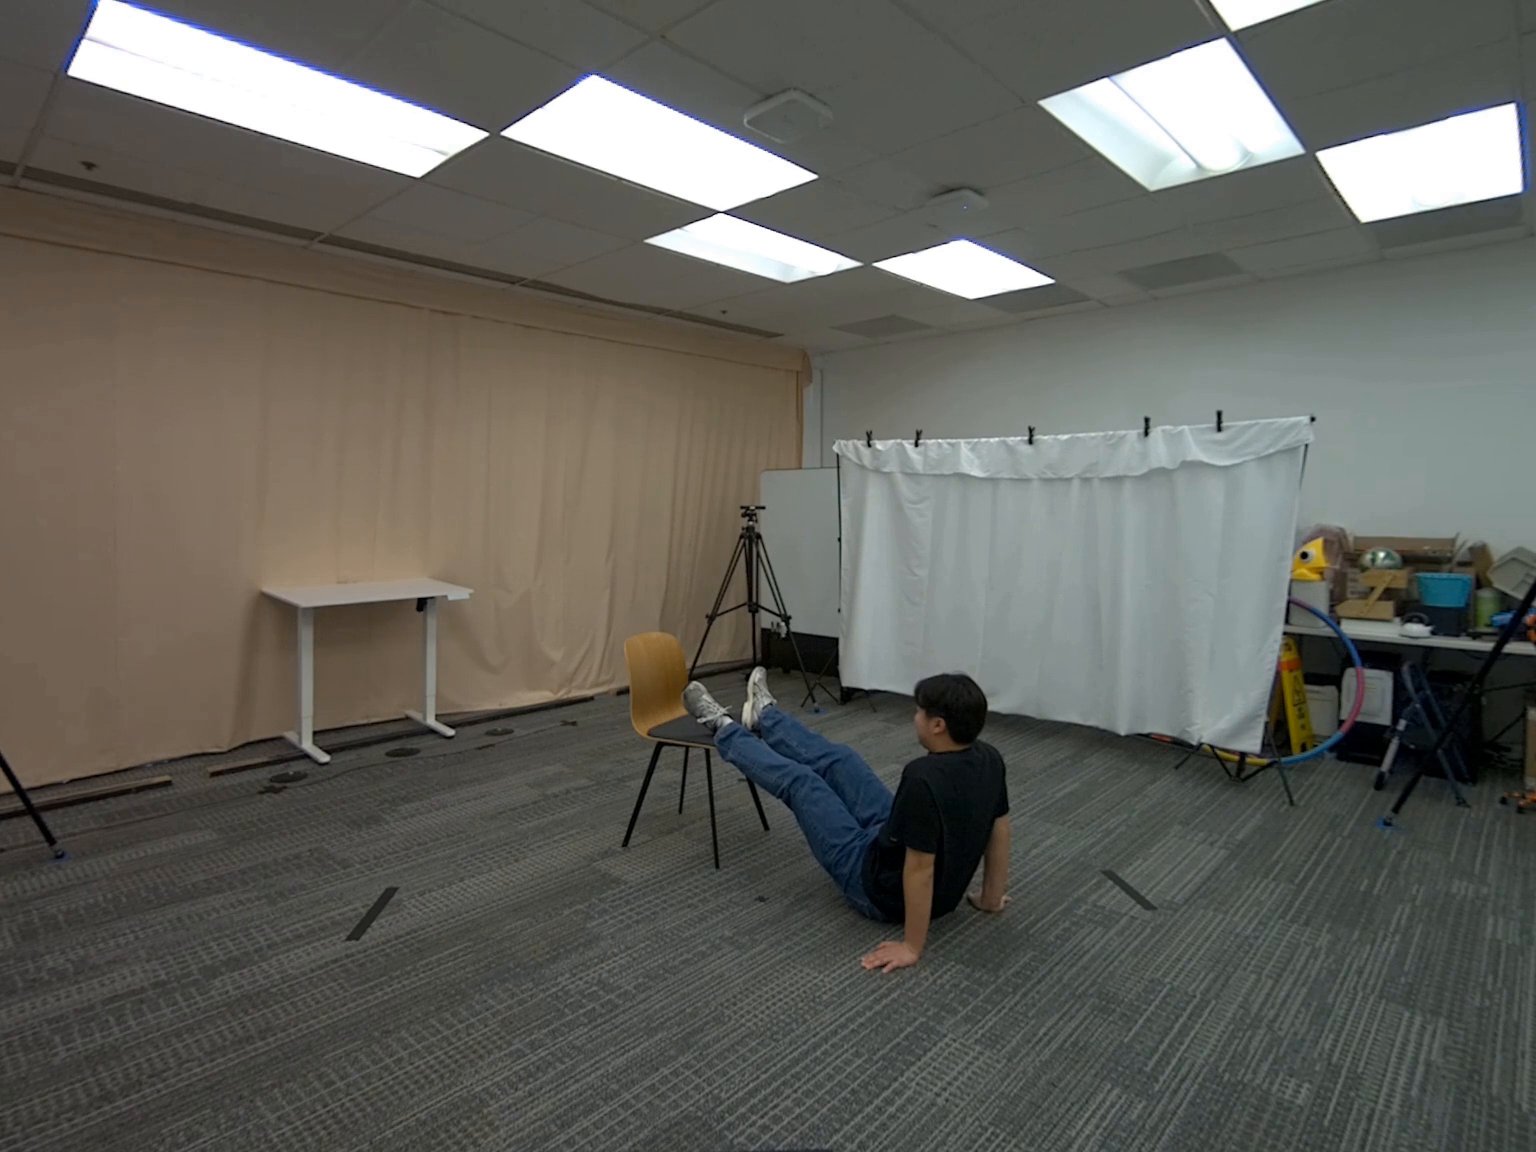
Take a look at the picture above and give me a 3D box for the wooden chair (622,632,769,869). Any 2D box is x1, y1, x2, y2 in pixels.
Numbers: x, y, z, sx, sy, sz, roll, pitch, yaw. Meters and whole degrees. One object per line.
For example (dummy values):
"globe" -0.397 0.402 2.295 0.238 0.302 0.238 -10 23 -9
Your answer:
"wooden chair" -0.293 0.675 3.498 0.537 0.877 0.466 -3 1 28
